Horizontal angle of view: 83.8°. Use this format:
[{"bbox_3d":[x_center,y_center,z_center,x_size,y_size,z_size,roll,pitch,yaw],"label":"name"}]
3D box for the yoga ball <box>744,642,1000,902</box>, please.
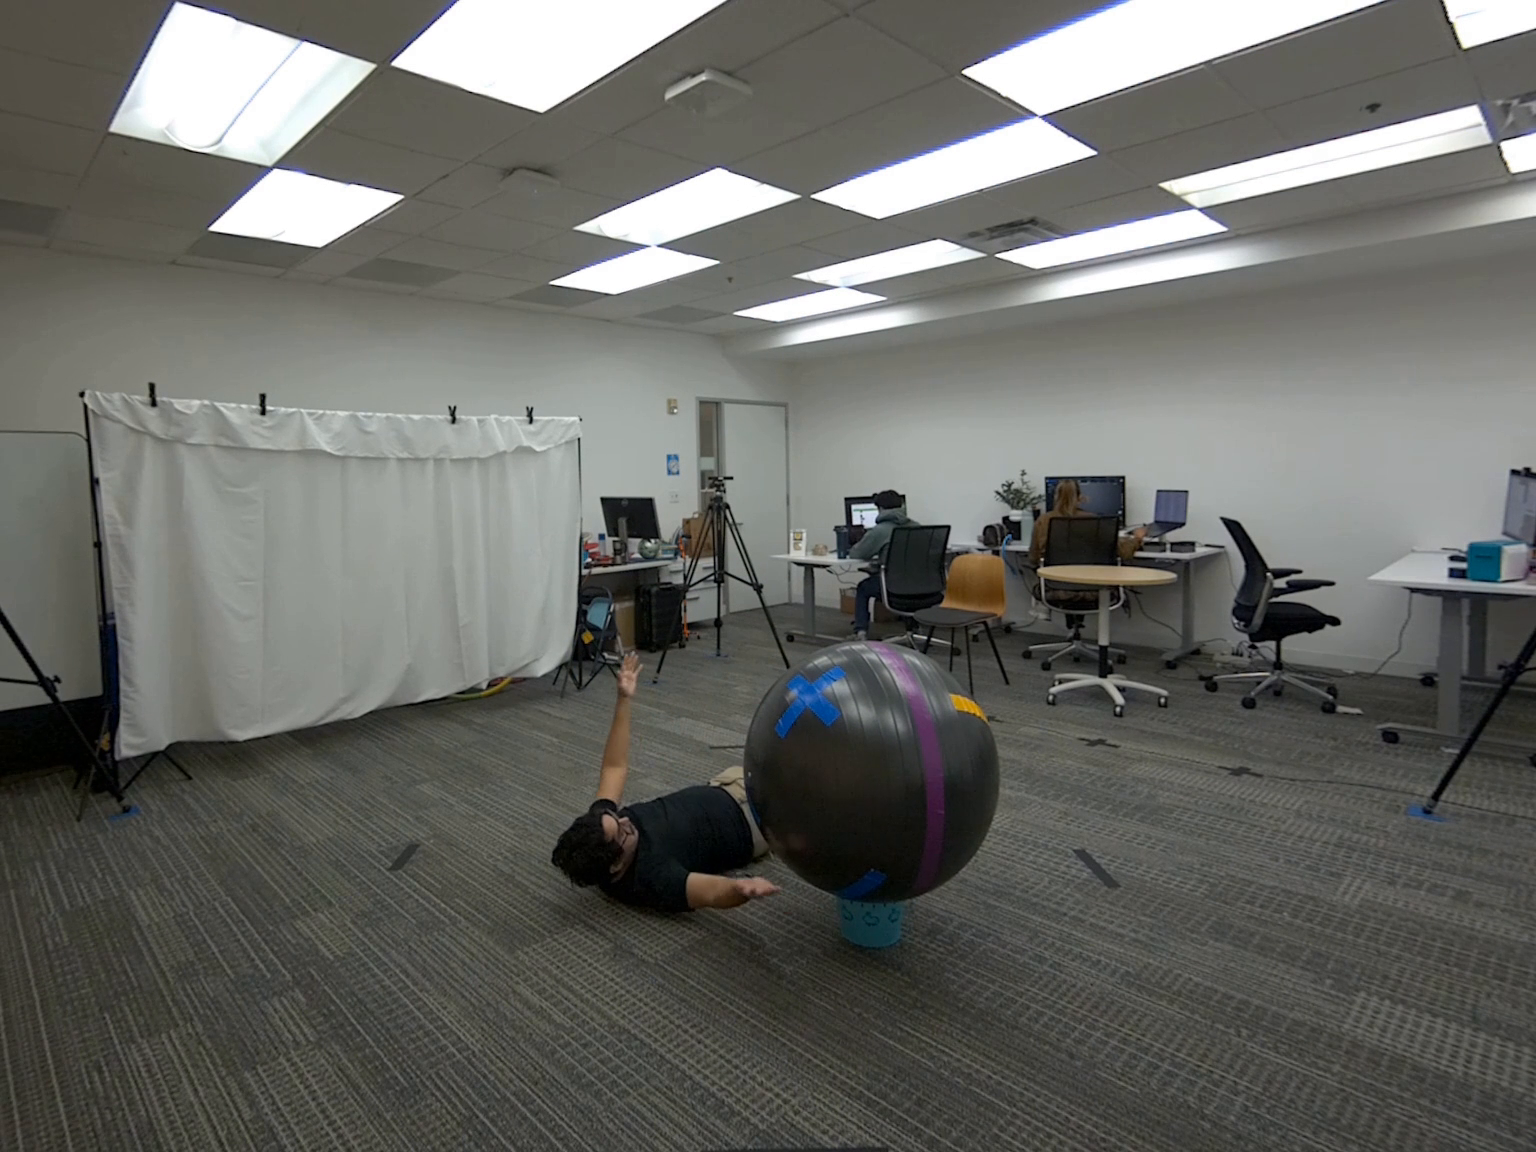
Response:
[{"bbox_3d":[0.312,0.585,2.582,0.757,0.755,0.761,-1,4,-2],"label":"yoga ball"}]
